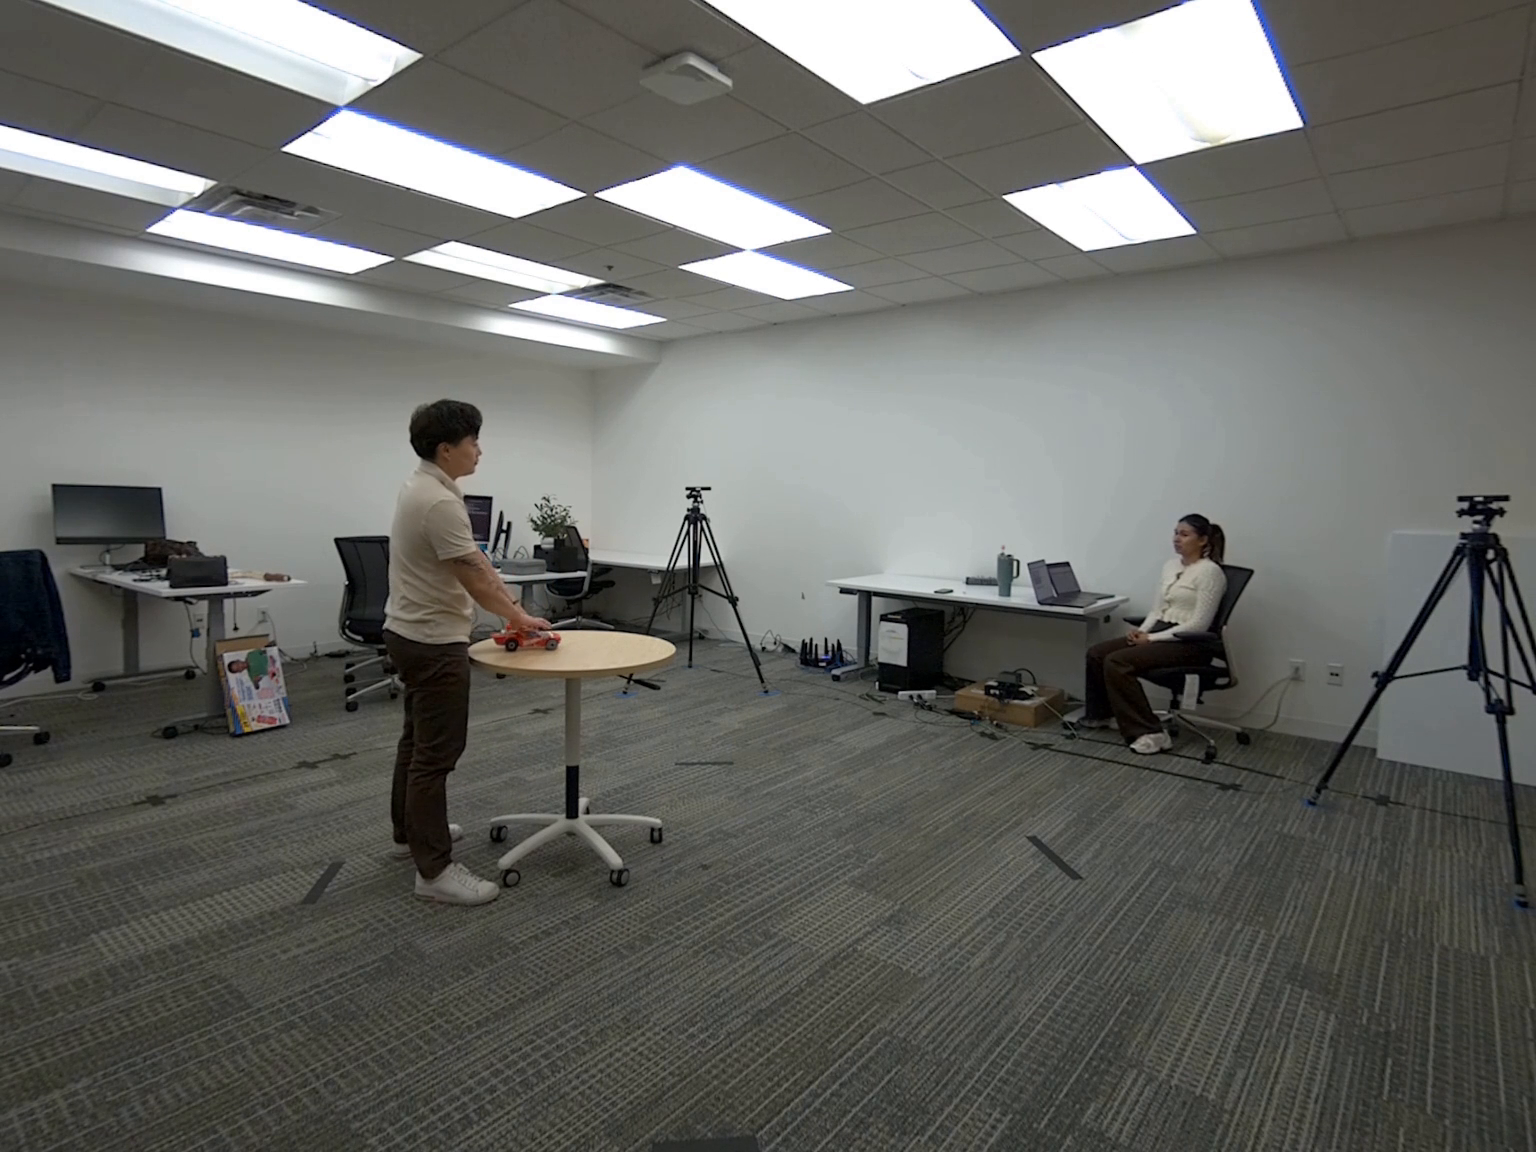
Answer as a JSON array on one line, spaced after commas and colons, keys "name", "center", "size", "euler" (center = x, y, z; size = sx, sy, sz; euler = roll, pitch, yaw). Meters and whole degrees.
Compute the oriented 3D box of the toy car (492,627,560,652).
[{"name": "toy car", "center": [-0.915, 0.239, 3.143], "size": [0.250, 0.083, 0.133], "euler": [10, 2, -16]}]
